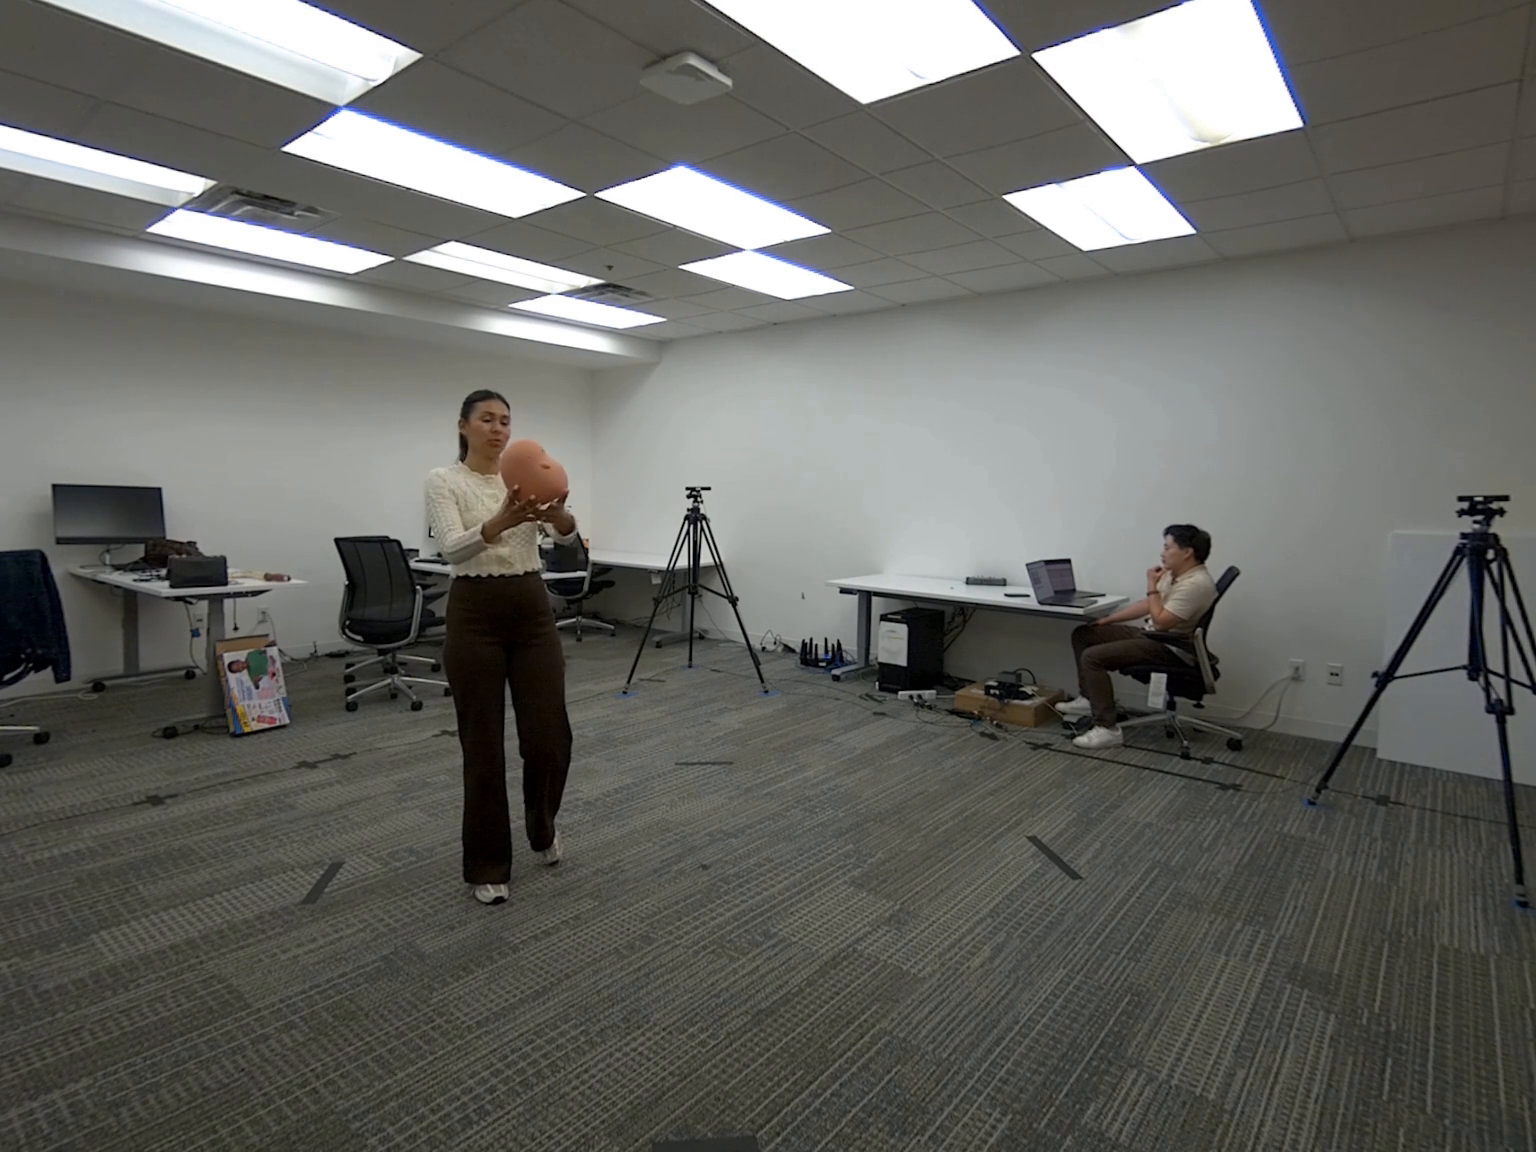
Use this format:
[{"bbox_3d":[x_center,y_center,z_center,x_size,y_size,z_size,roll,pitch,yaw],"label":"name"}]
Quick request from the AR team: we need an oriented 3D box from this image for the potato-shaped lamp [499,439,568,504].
[{"bbox_3d":[-0.689,-0.304,2.454,0.171,0.194,0.169,-21,19,-2],"label":"potato-shaped lamp"}]
